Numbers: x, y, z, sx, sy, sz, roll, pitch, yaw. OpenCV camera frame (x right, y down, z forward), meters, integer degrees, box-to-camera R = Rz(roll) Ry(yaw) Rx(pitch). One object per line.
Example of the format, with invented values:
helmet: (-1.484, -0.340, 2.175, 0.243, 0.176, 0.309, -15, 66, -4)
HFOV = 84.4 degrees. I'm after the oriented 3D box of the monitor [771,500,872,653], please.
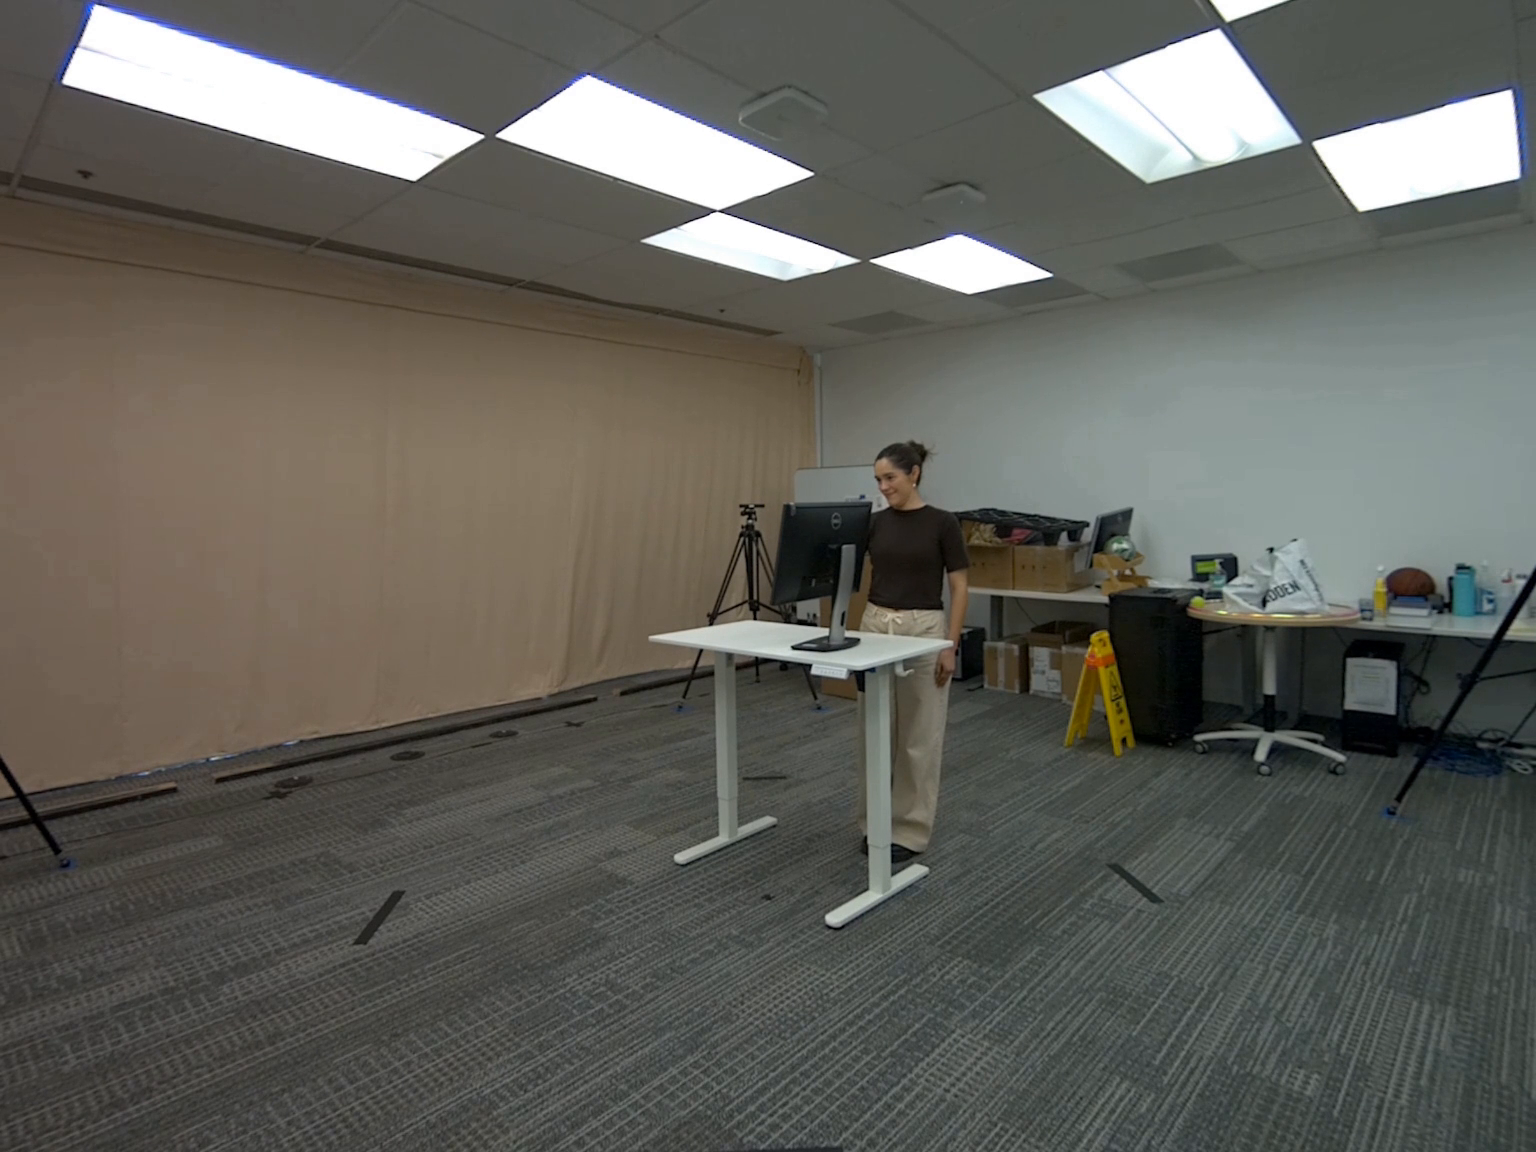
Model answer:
monitor: (0.227, -0.001, 2.993, 0.193, 0.521, 0.523, 0, 4, 40)
